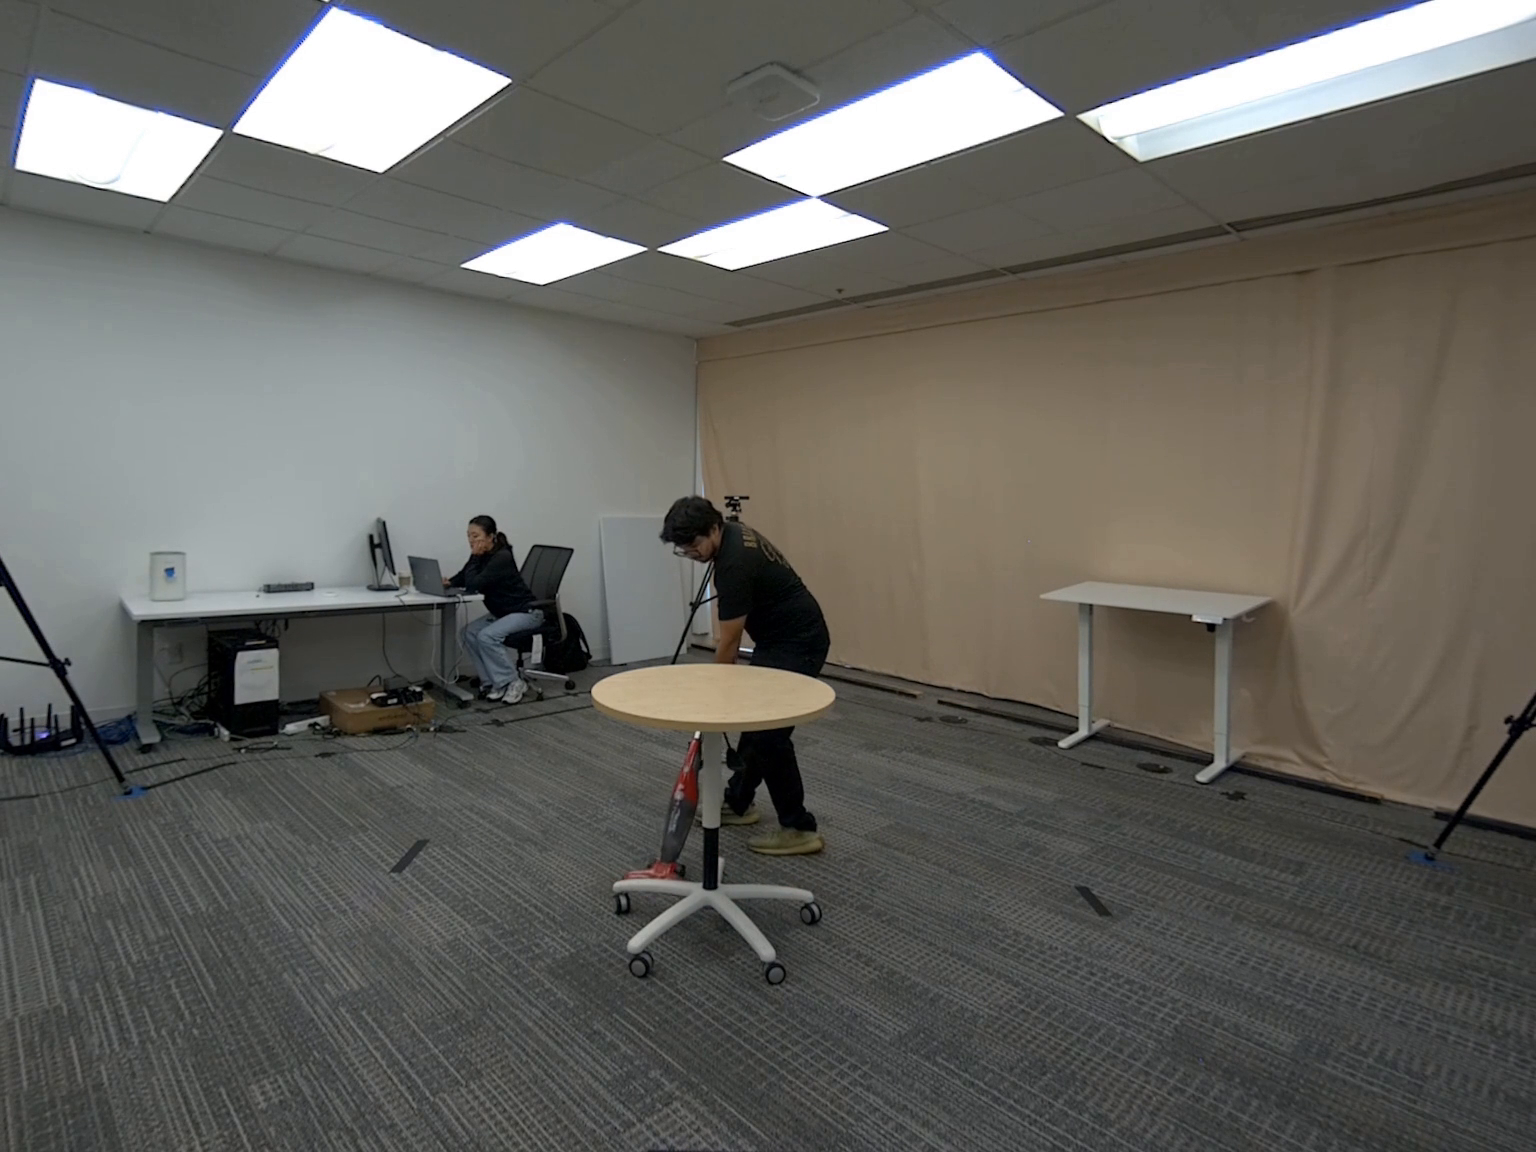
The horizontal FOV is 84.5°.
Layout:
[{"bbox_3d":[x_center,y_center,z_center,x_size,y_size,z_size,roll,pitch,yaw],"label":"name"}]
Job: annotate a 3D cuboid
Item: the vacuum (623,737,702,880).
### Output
[{"bbox_3d":[-0.284,0.665,3.333,0.255,1.065,0.140,6,-37,10],"label":"vacuum"}]
